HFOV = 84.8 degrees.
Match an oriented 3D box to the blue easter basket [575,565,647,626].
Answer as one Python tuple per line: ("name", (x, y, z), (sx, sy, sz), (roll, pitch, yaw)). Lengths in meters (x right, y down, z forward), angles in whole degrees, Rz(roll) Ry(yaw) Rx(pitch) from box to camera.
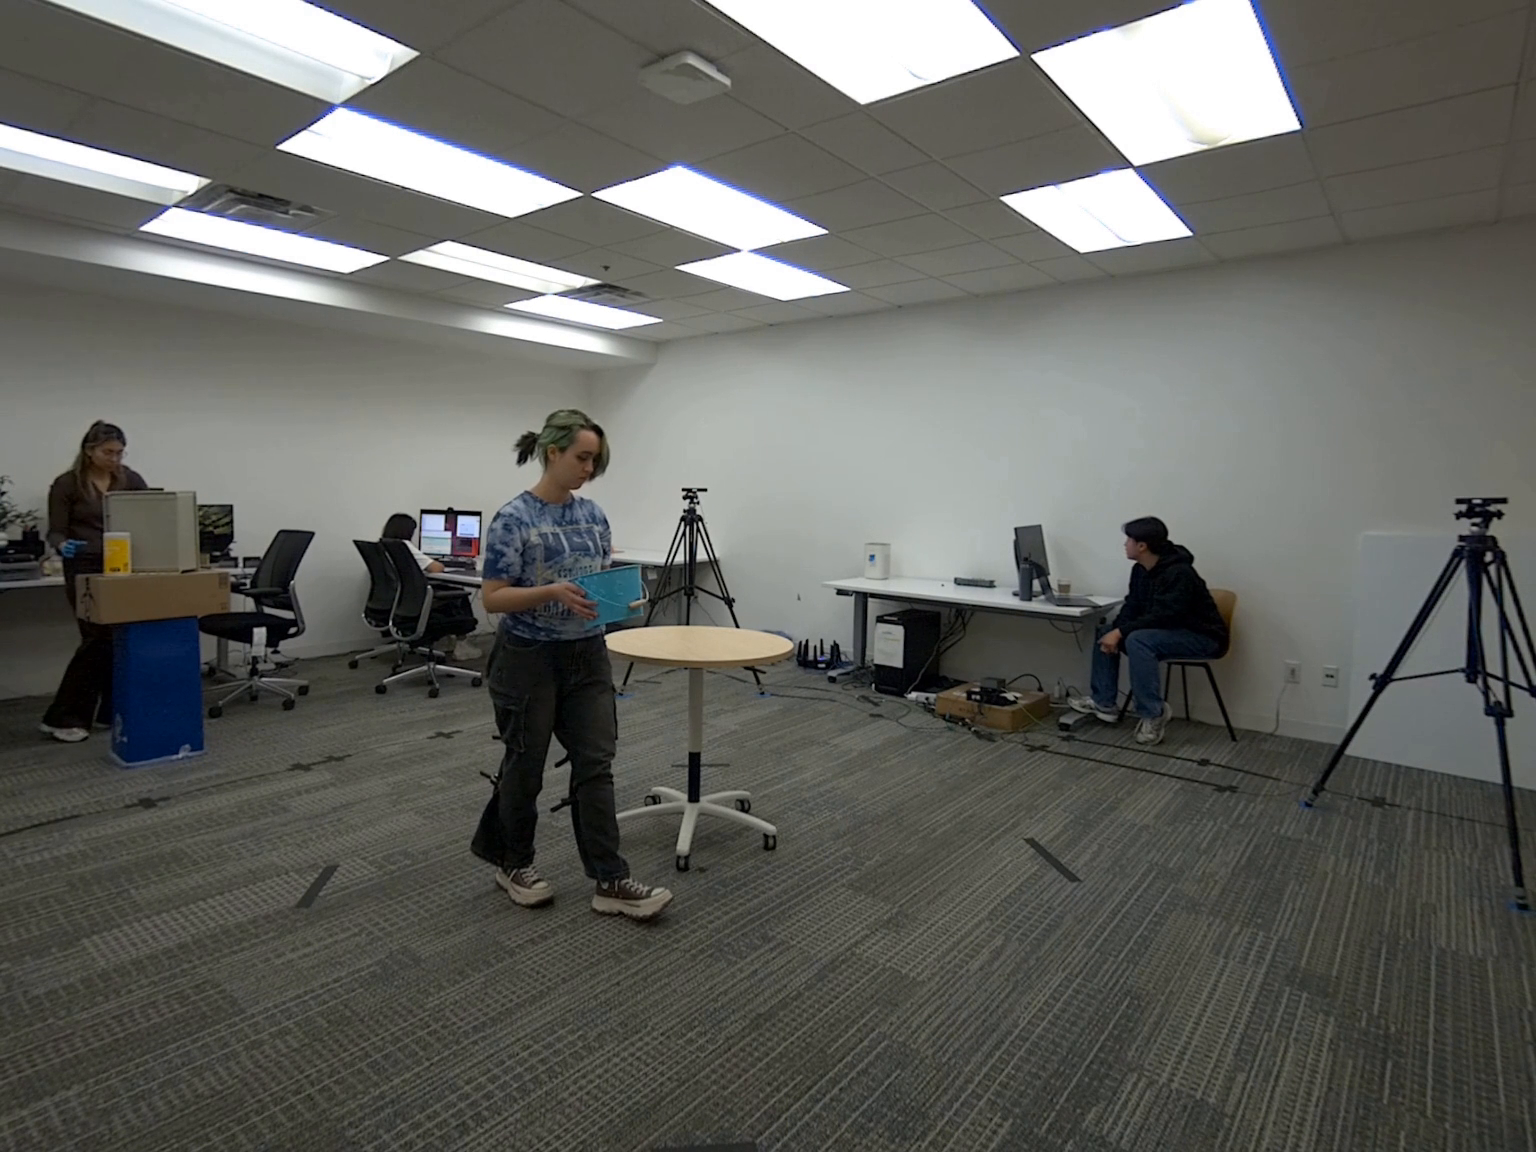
("blue easter basket", (-0.506, 0.068, 2.595), (0.243, 0.156, 0.243), (-9, -3, -2))
